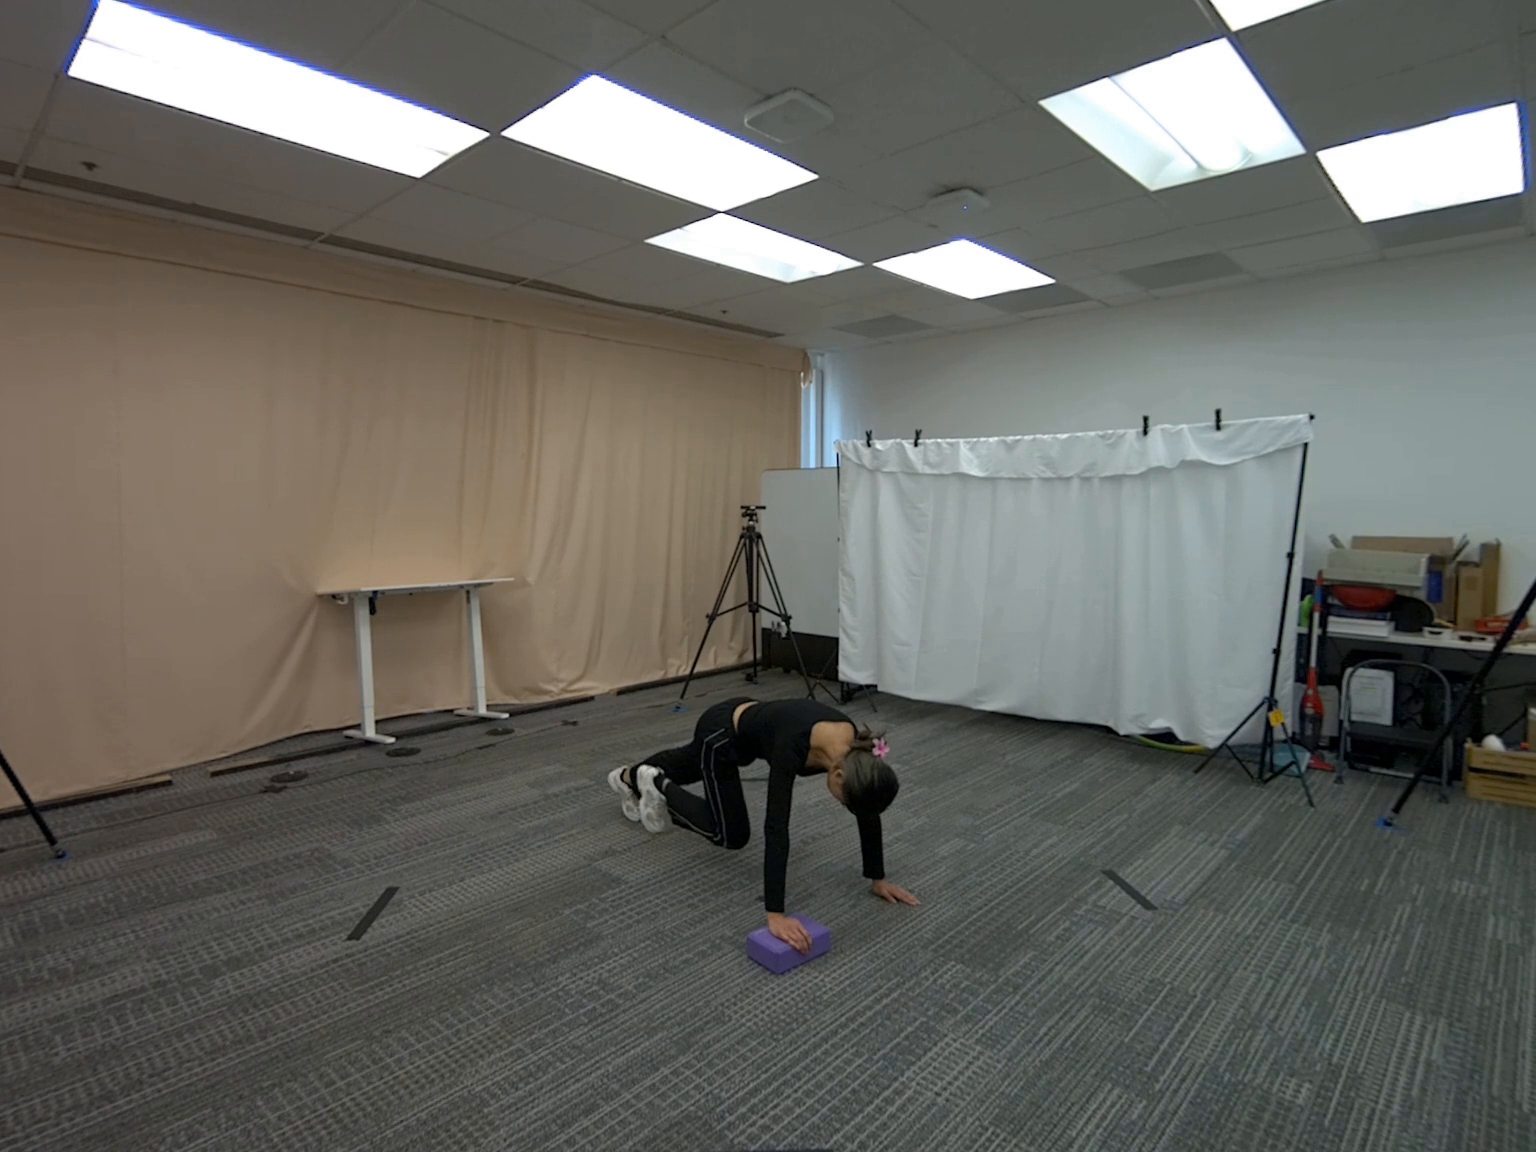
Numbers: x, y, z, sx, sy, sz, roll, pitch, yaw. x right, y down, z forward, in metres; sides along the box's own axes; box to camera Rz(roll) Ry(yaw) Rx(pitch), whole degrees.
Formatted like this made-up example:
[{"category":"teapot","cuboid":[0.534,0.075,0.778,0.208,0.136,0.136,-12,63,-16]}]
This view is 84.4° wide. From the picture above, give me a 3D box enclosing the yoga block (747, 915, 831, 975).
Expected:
[{"category":"yoga block","cuboid":[0.068,1.139,2.616,0.223,0.076,0.154,-6,8,-39]}]
